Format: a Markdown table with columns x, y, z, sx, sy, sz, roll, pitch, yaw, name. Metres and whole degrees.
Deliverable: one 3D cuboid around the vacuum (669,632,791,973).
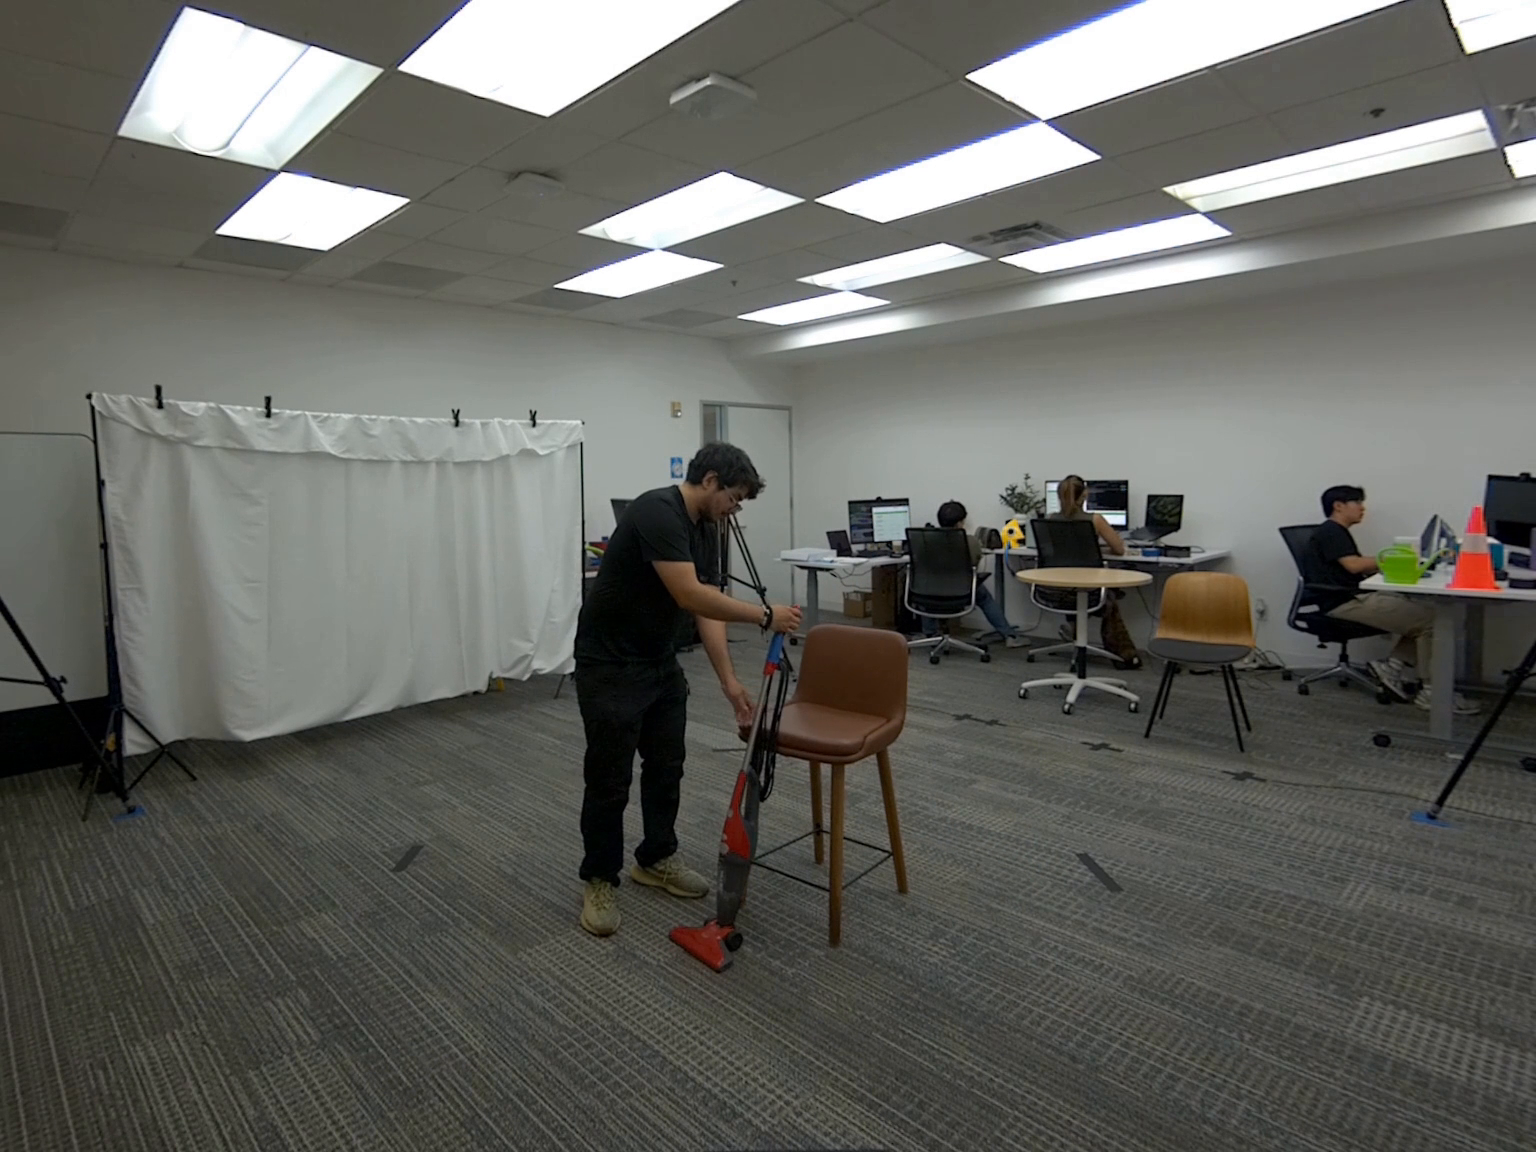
| x | y | z | sx | sy | sz | roll | pitch | yaw | name |
| --- | --- | --- | --- | --- | --- | --- | --- | --- | --- |
| -0.034 | 0.614 | 2.635 | 0.139 | 1.056 | 0.260 | 23 | -13 | -37 | vacuum |
